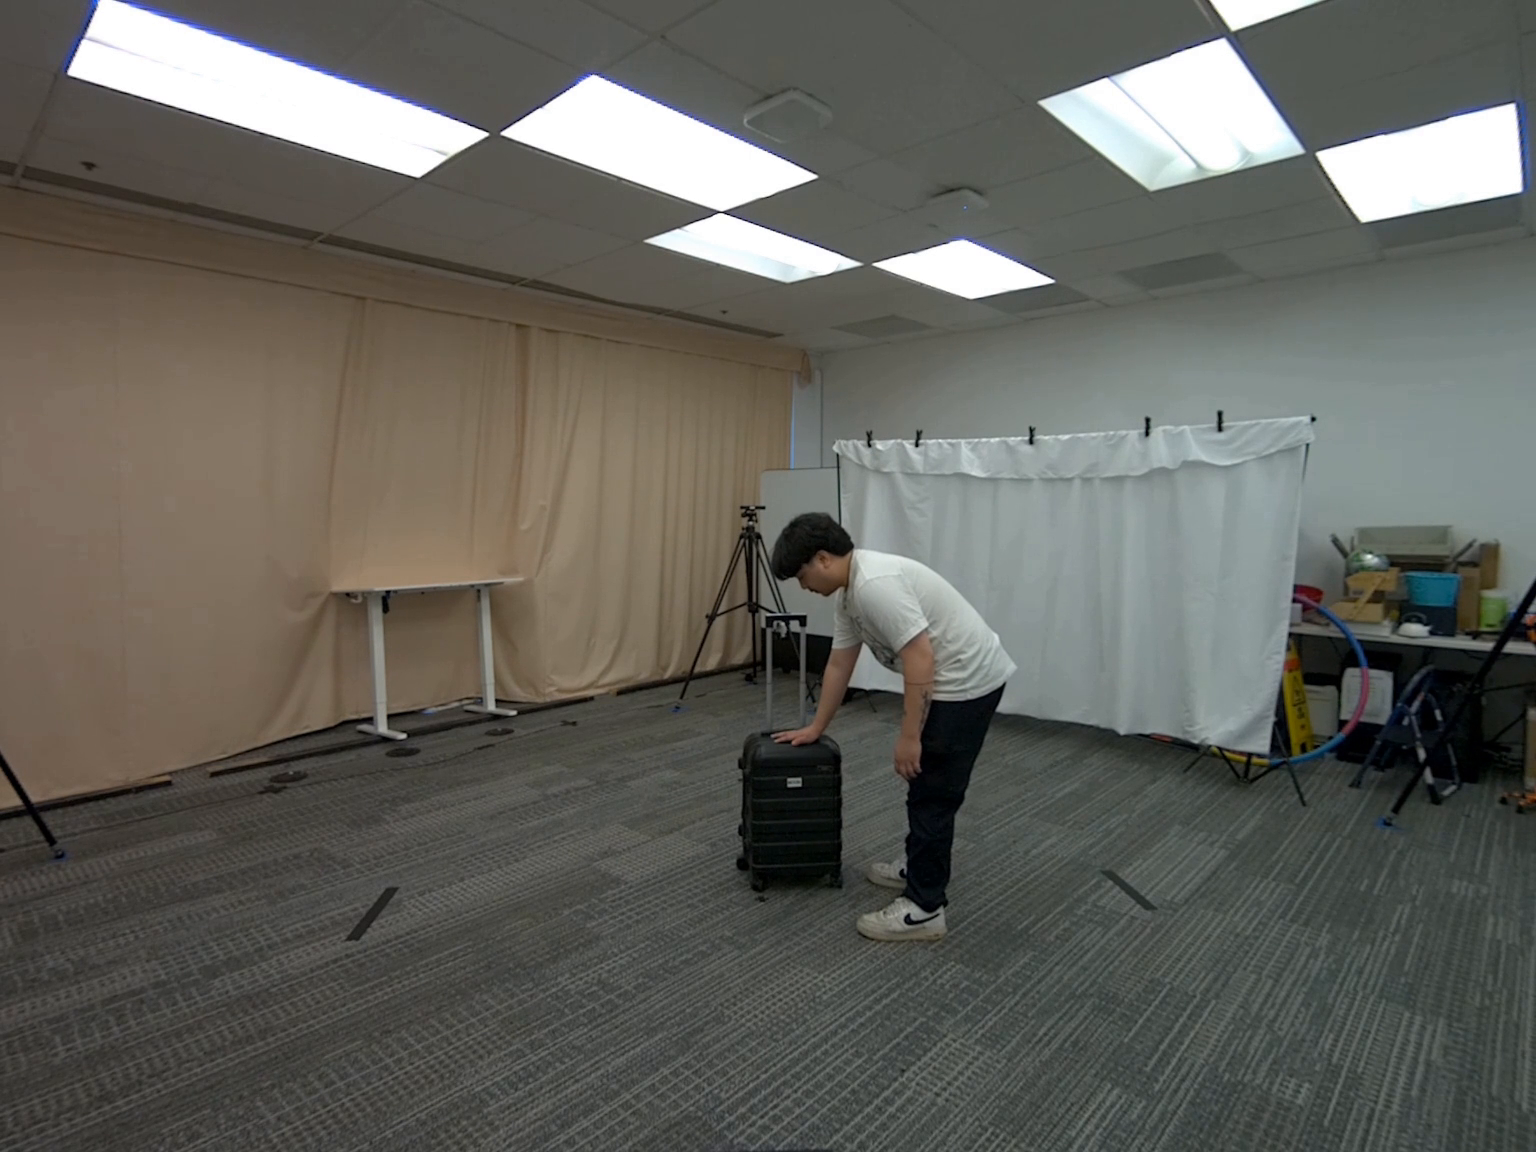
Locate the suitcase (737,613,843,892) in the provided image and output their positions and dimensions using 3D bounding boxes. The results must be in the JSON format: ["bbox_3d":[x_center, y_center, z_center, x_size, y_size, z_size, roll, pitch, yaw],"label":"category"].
[{"bbox_3d":[0.092,0.658,3.116,0.382,0.975,0.259,-1,6,-6],"label":"suitcase"}]
